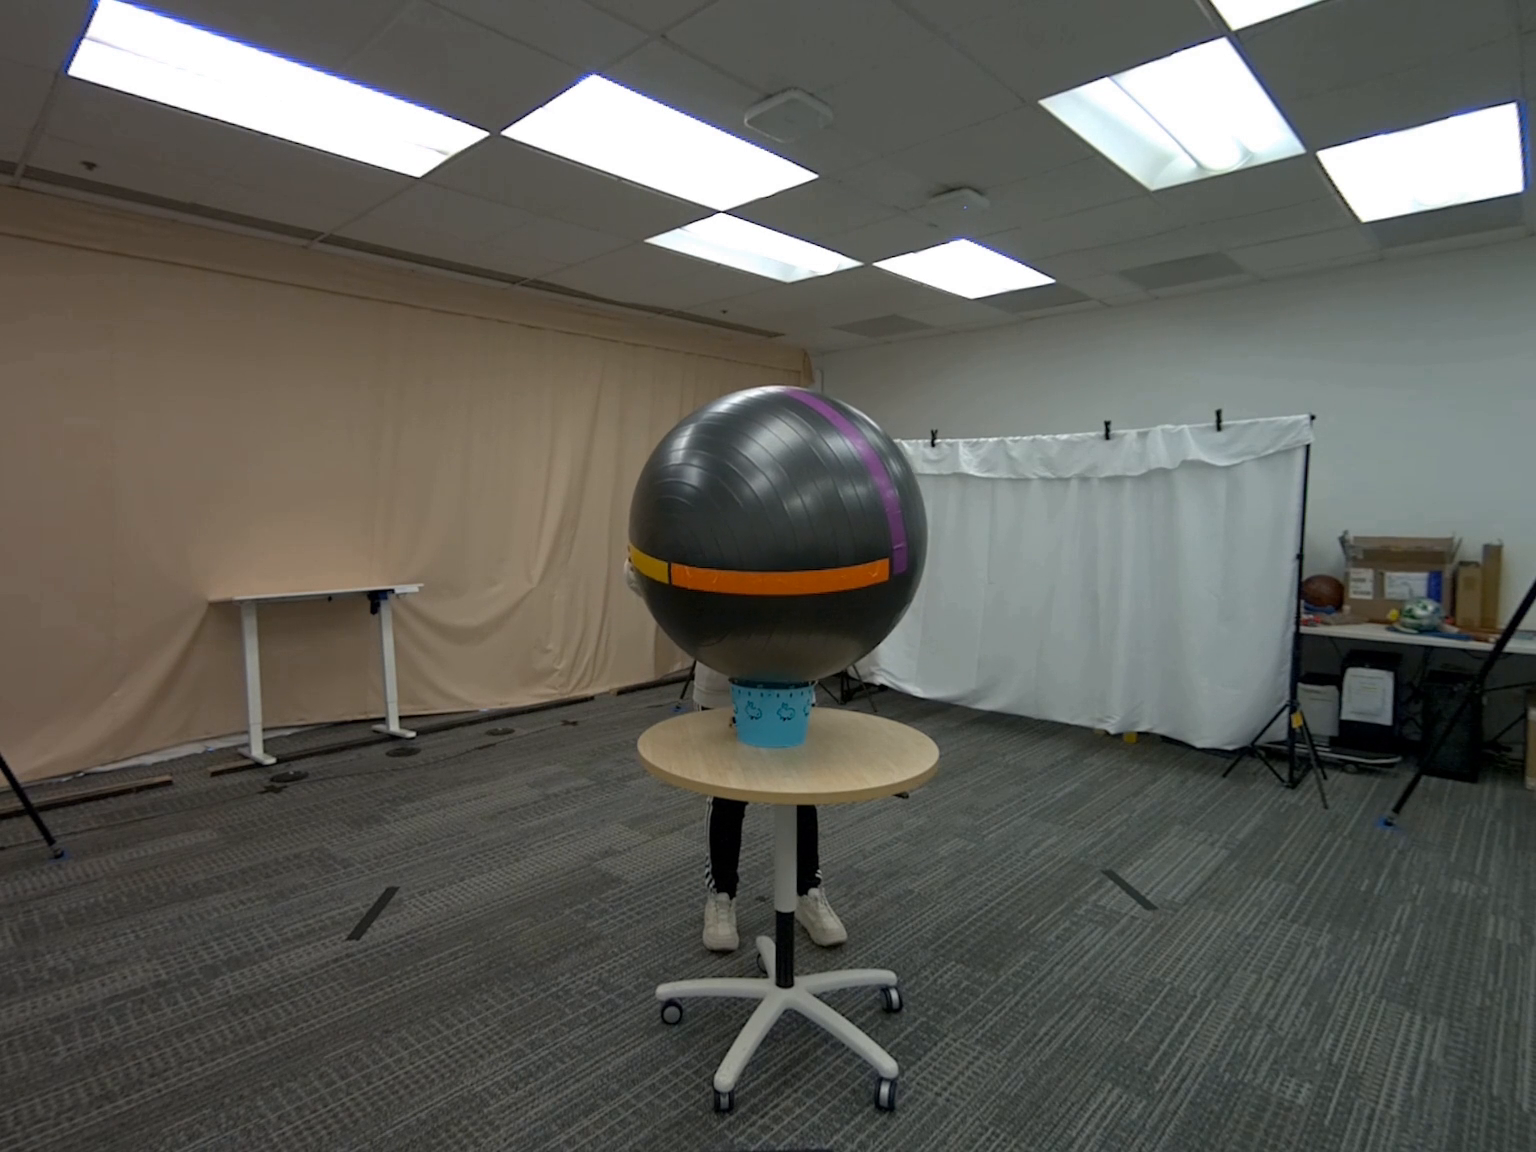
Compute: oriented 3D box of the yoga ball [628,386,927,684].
[{"bbox_3d":[0.022,-0.103,2.158,0.757,0.756,0.761,0,4,-2],"label":"yoga ball"}]
